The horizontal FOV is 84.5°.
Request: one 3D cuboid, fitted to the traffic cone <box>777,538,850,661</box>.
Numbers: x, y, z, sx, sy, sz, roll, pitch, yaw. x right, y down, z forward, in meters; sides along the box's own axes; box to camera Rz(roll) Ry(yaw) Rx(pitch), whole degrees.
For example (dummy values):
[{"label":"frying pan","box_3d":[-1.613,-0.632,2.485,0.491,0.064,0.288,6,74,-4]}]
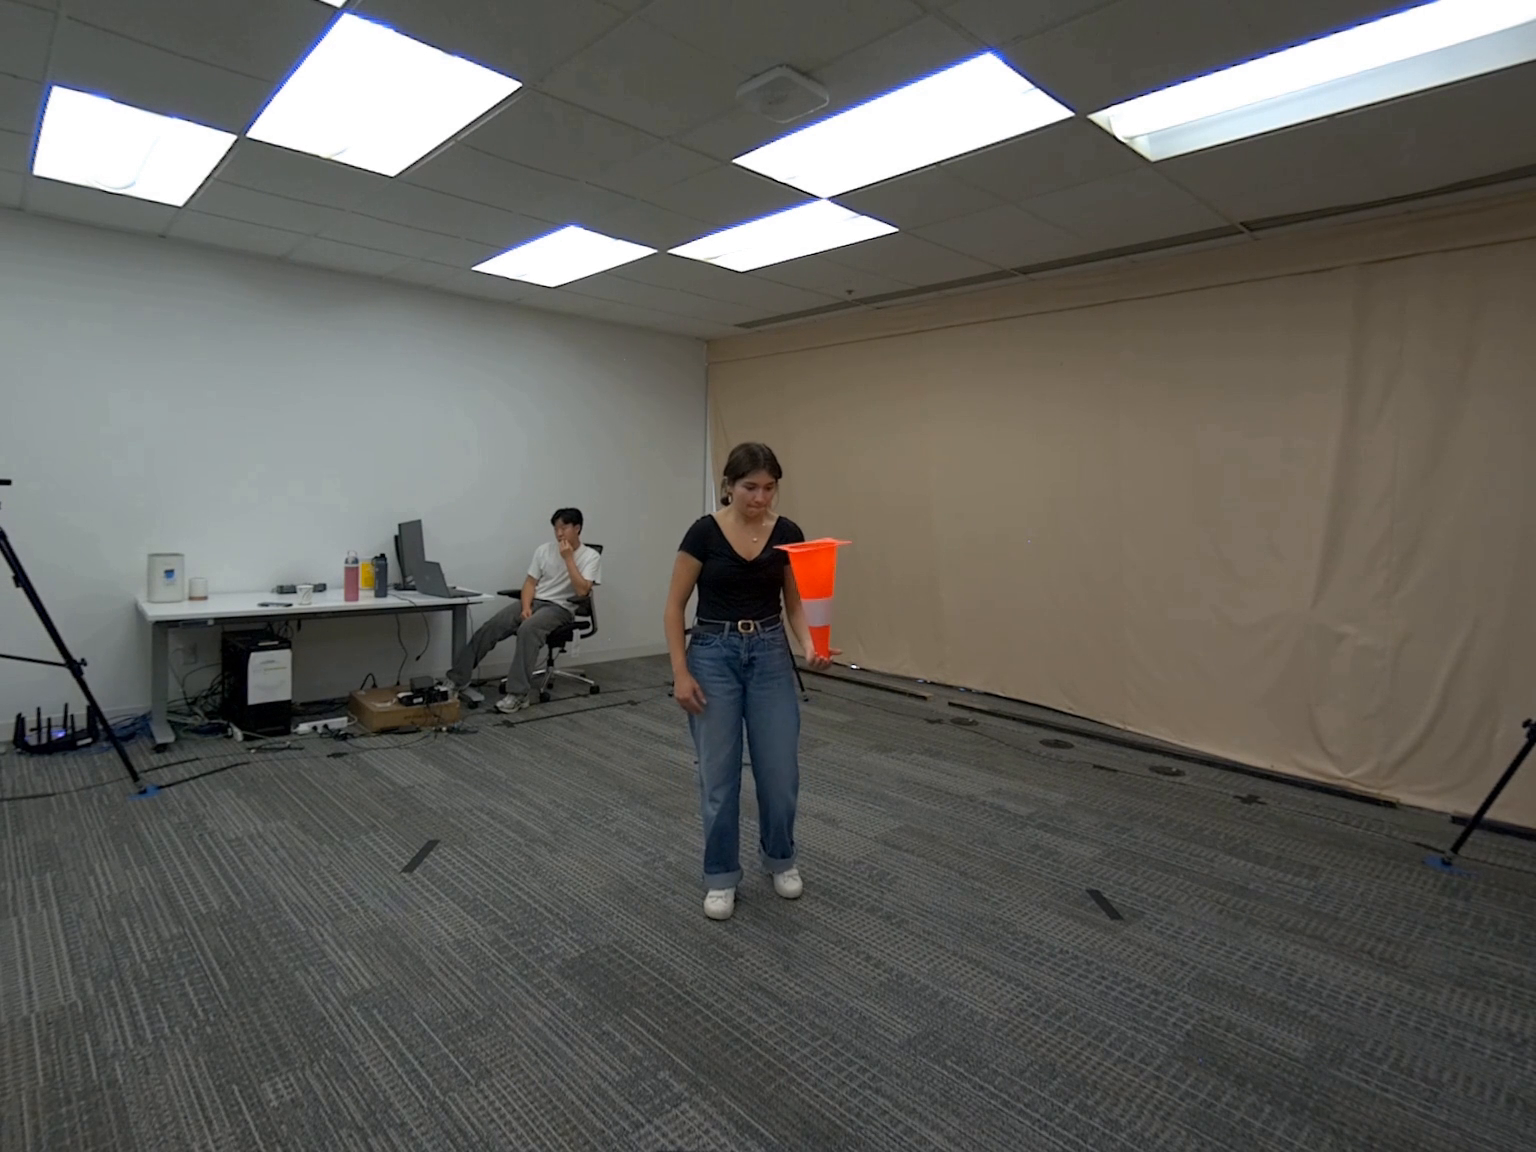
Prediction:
[{"label":"traffic cone","box_3d":[0.141,0.095,2.657,0.203,0.381,0.206,-7,8,1]}]
